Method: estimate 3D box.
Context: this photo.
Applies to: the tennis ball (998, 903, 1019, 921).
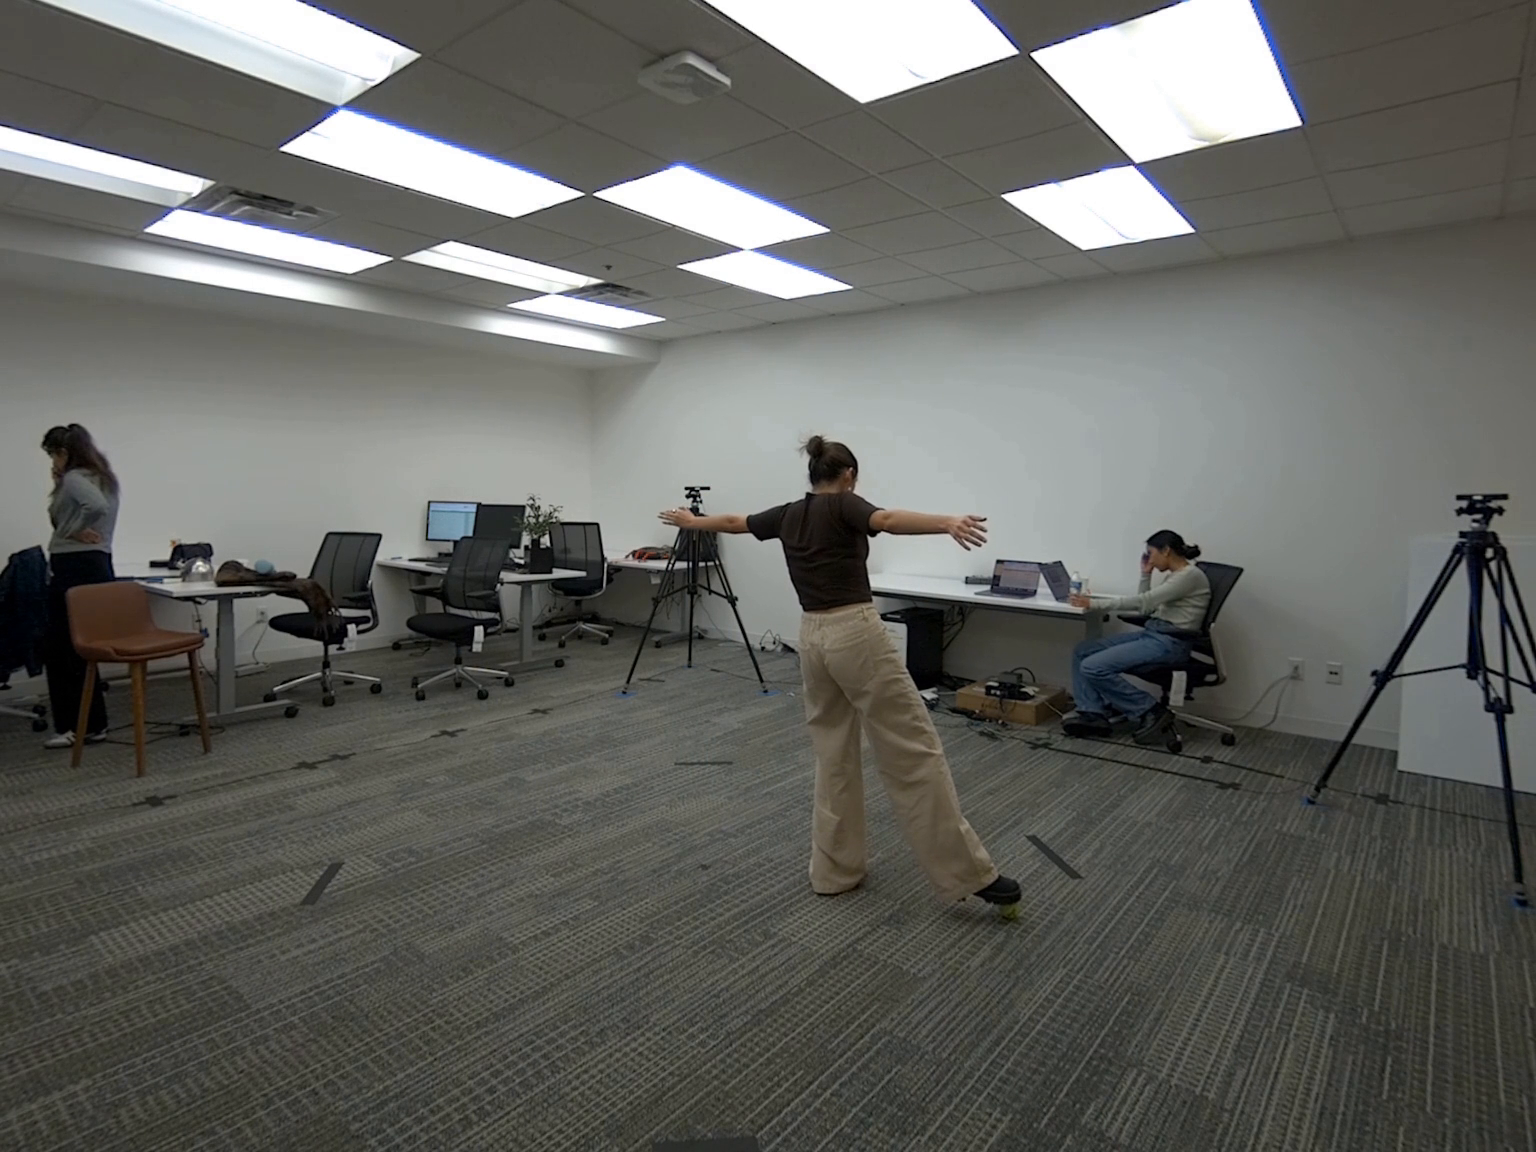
[{"bbox_3d":[0.788,1.075,2.795,0.066,0.066,0.067,1,4,-2],"label":"tennis ball"}]
